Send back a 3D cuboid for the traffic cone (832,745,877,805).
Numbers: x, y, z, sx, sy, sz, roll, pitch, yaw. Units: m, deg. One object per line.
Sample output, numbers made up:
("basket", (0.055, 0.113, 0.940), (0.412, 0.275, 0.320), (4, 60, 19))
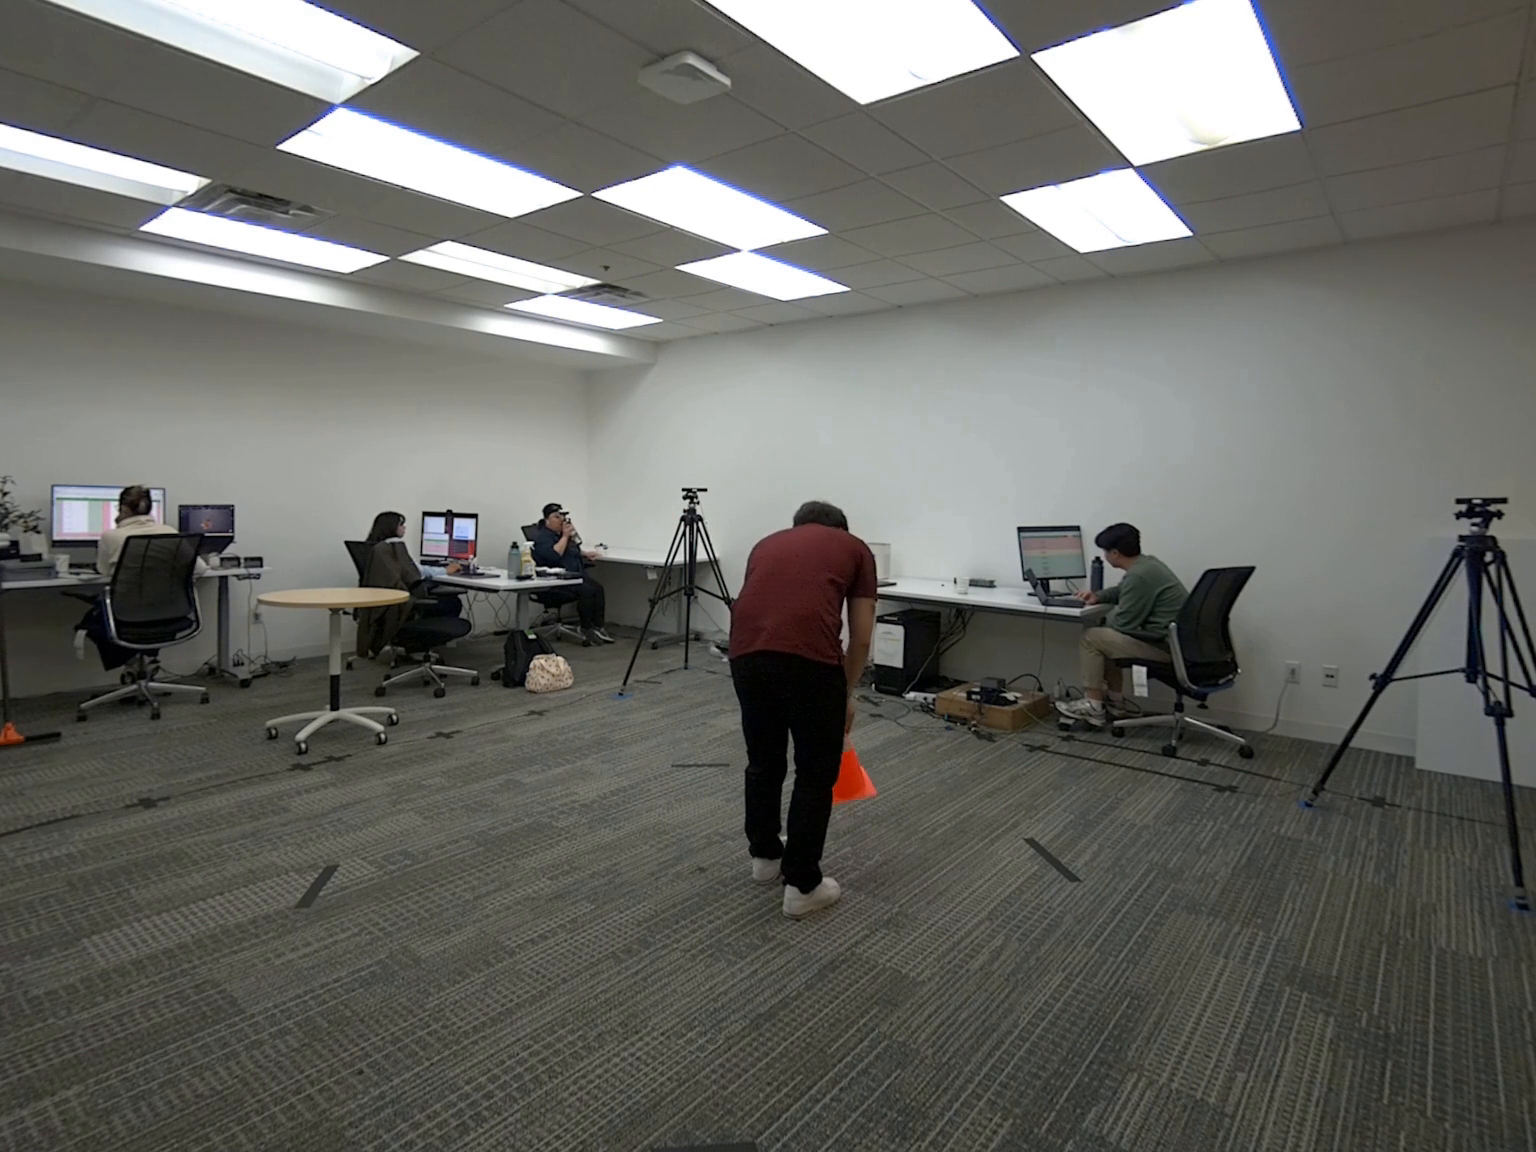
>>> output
("traffic cone", (0.250, 0.612, 3.125), (0.204, 0.377, 0.207), (-8, 16, -3))
